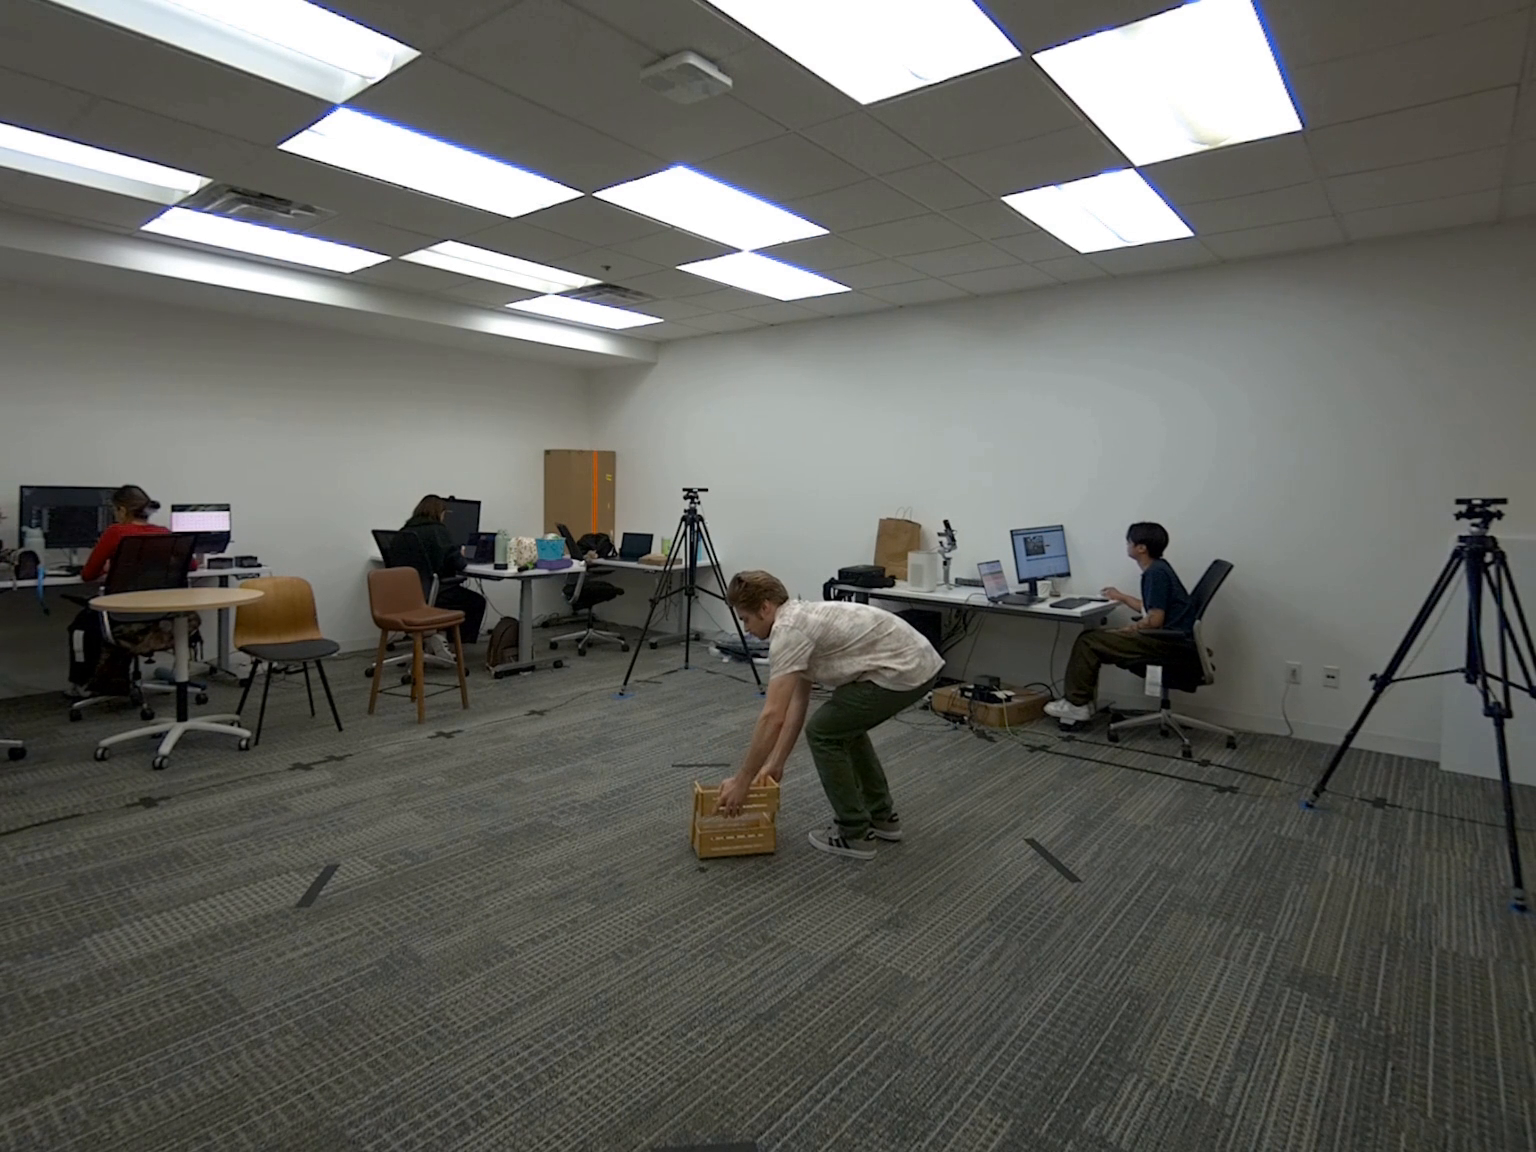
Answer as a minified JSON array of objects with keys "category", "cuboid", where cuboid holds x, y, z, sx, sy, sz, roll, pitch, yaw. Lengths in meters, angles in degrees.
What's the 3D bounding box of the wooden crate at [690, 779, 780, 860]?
[{"category":"wooden crate","cuboid":[-0.154,0.906,3.310,0.320,0.273,0.306,-1,2,-14]}]
